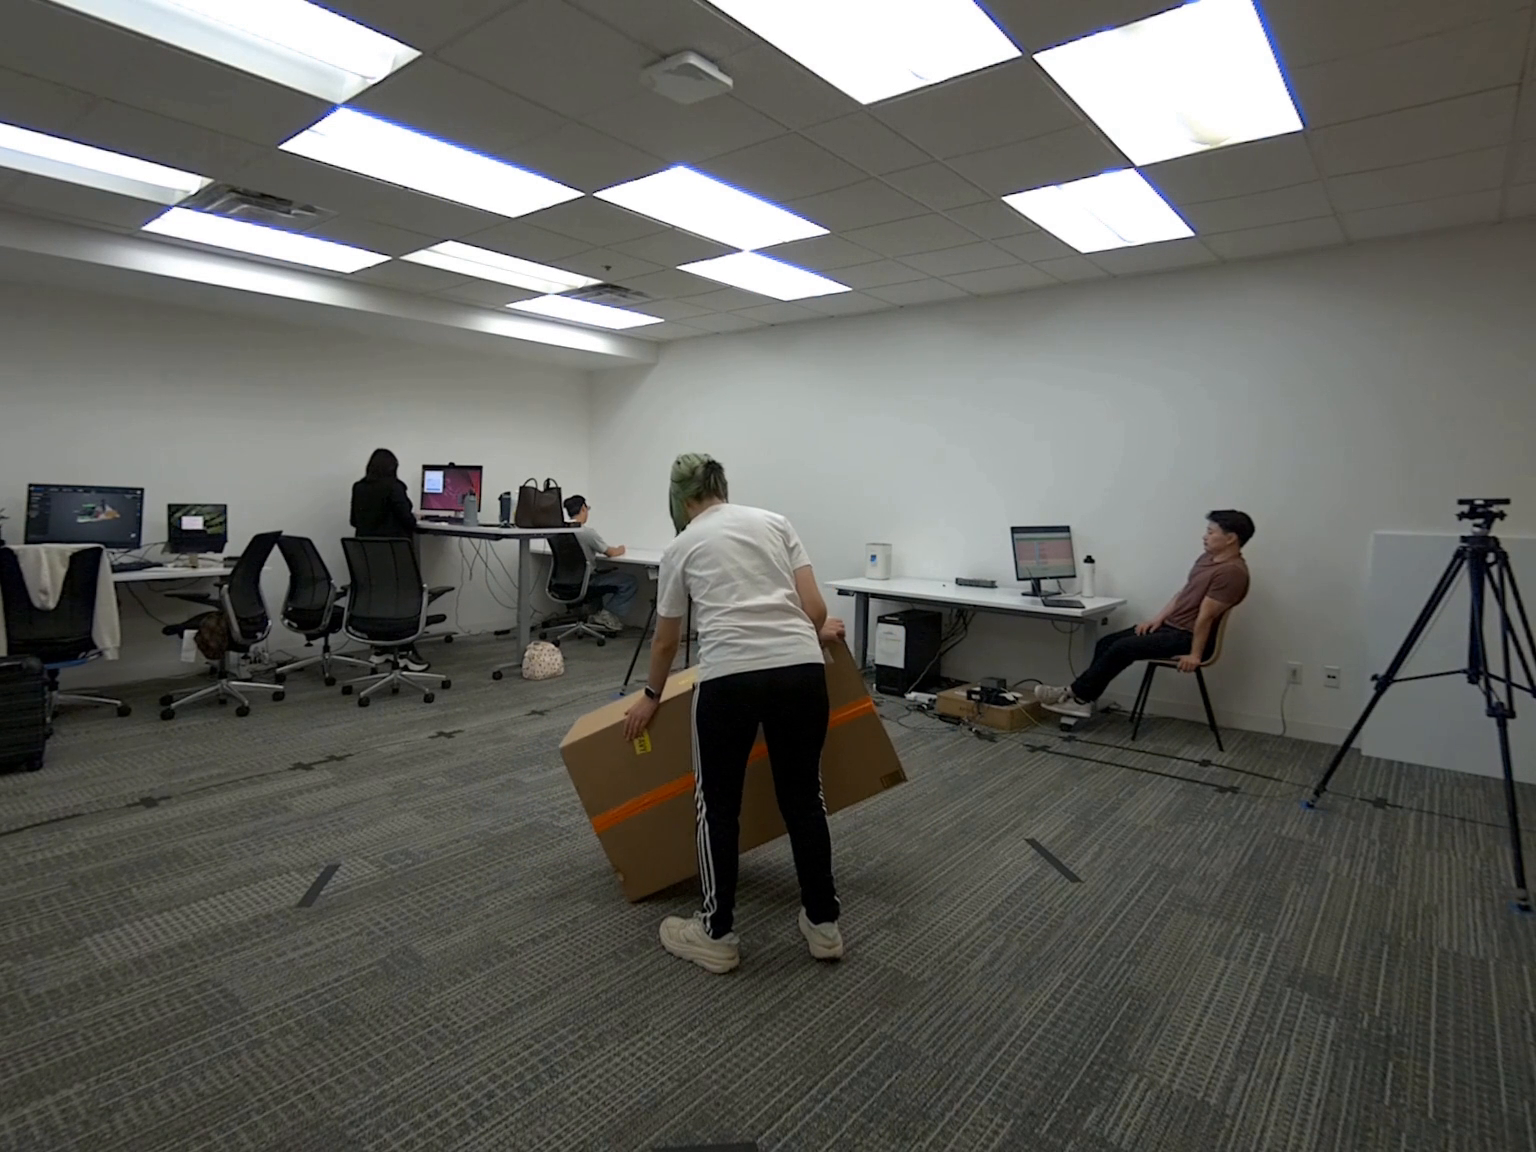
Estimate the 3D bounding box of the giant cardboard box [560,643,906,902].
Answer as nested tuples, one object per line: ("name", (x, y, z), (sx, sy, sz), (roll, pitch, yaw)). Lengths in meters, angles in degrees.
("giant cardboard box", (-0.136, 0.611, 3.027), (1.026, 0.577, 0.427), (-24, 2, 0))
